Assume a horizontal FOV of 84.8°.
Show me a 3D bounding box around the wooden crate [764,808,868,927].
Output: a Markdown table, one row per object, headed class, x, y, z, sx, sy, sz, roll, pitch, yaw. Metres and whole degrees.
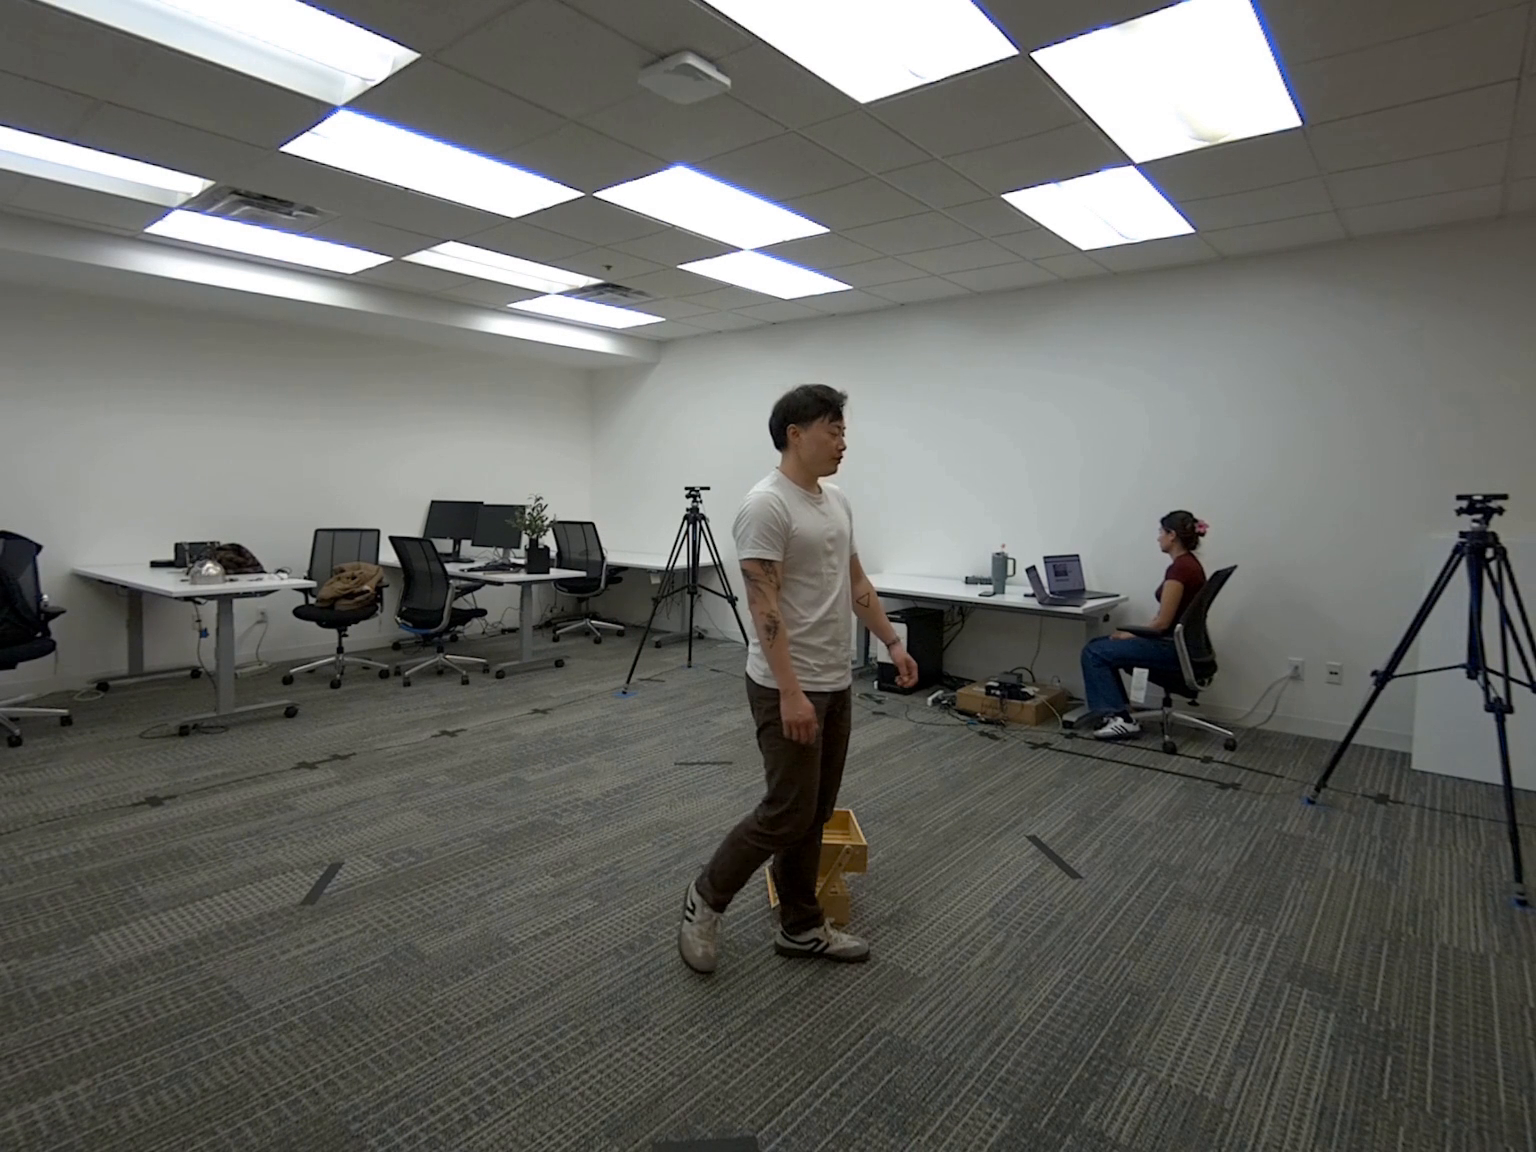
| class | x | y | z | sx | sy | sz | roll | pitch | yaw |
| --- | --- | --- | --- | --- | --- | --- | --- | --- | --- |
| wooden crate | 0.145 | 0.960 | 2.867 | 0.301 | 0.272 | 0.326 | 1 | 4 | -3 |
